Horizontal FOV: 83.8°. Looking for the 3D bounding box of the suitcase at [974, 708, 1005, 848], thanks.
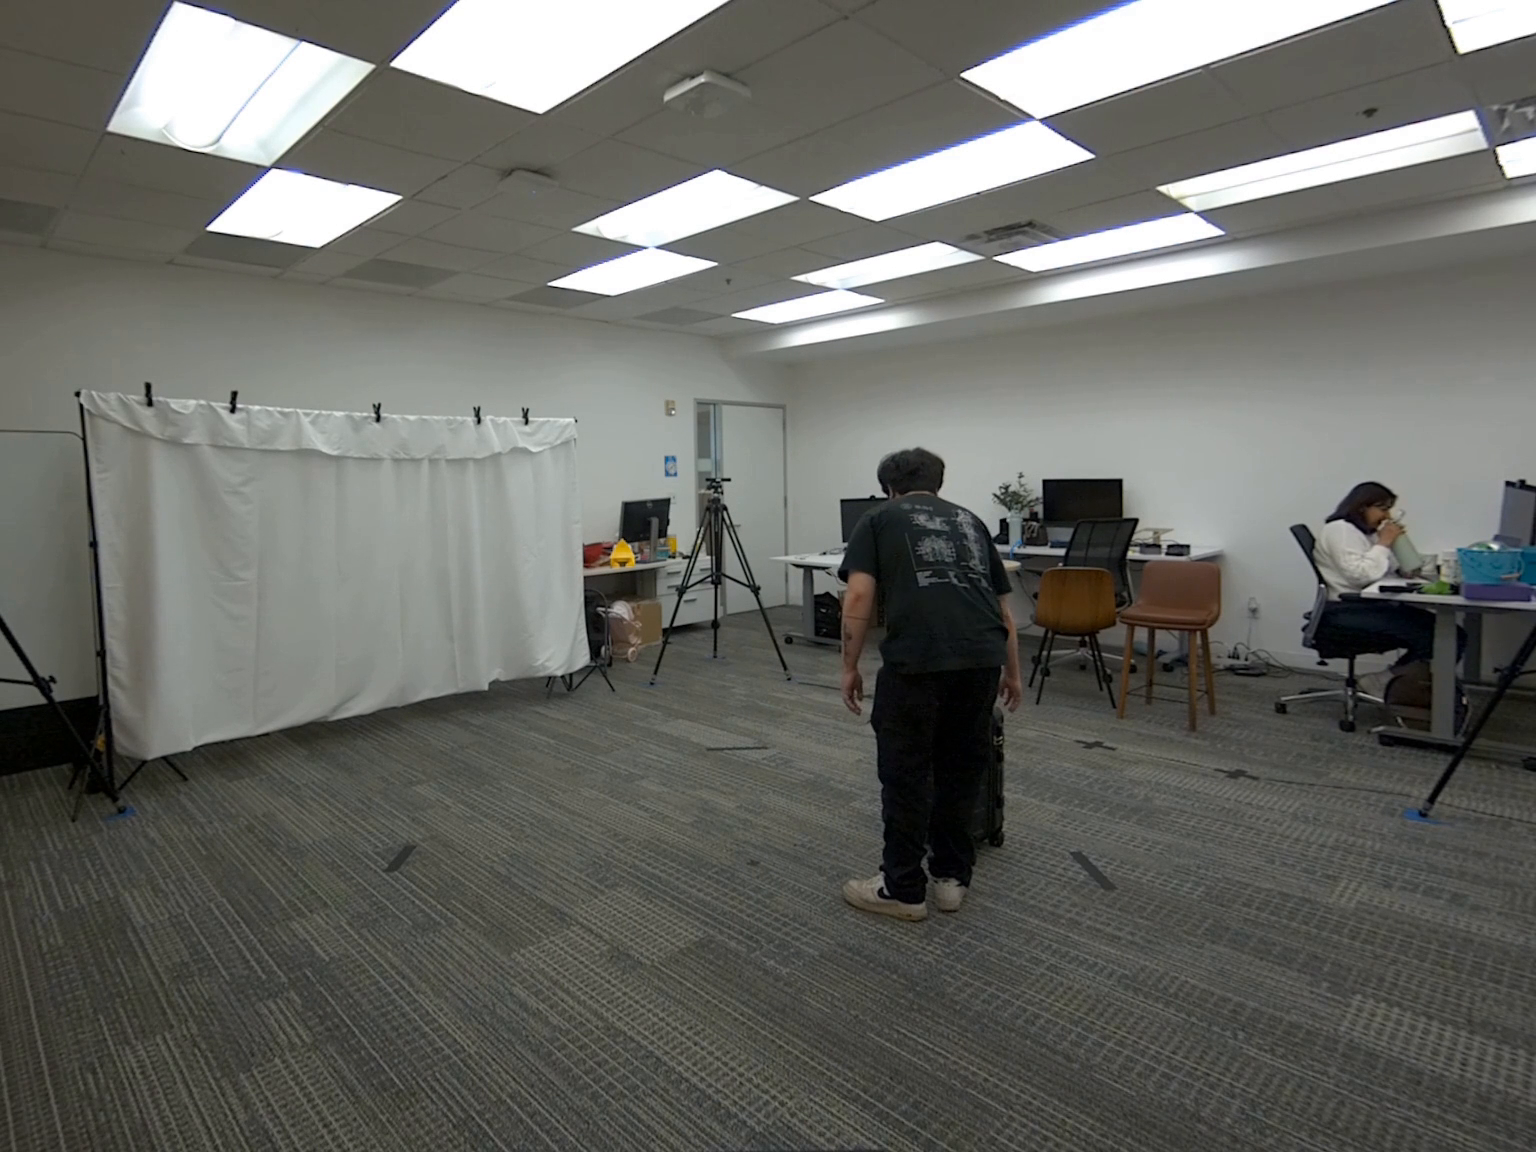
[{"bbox_3d":[0.705,0.736,3.251,0.241,0.548,0.387,-2,4,-45],"label":"suitcase"}]
